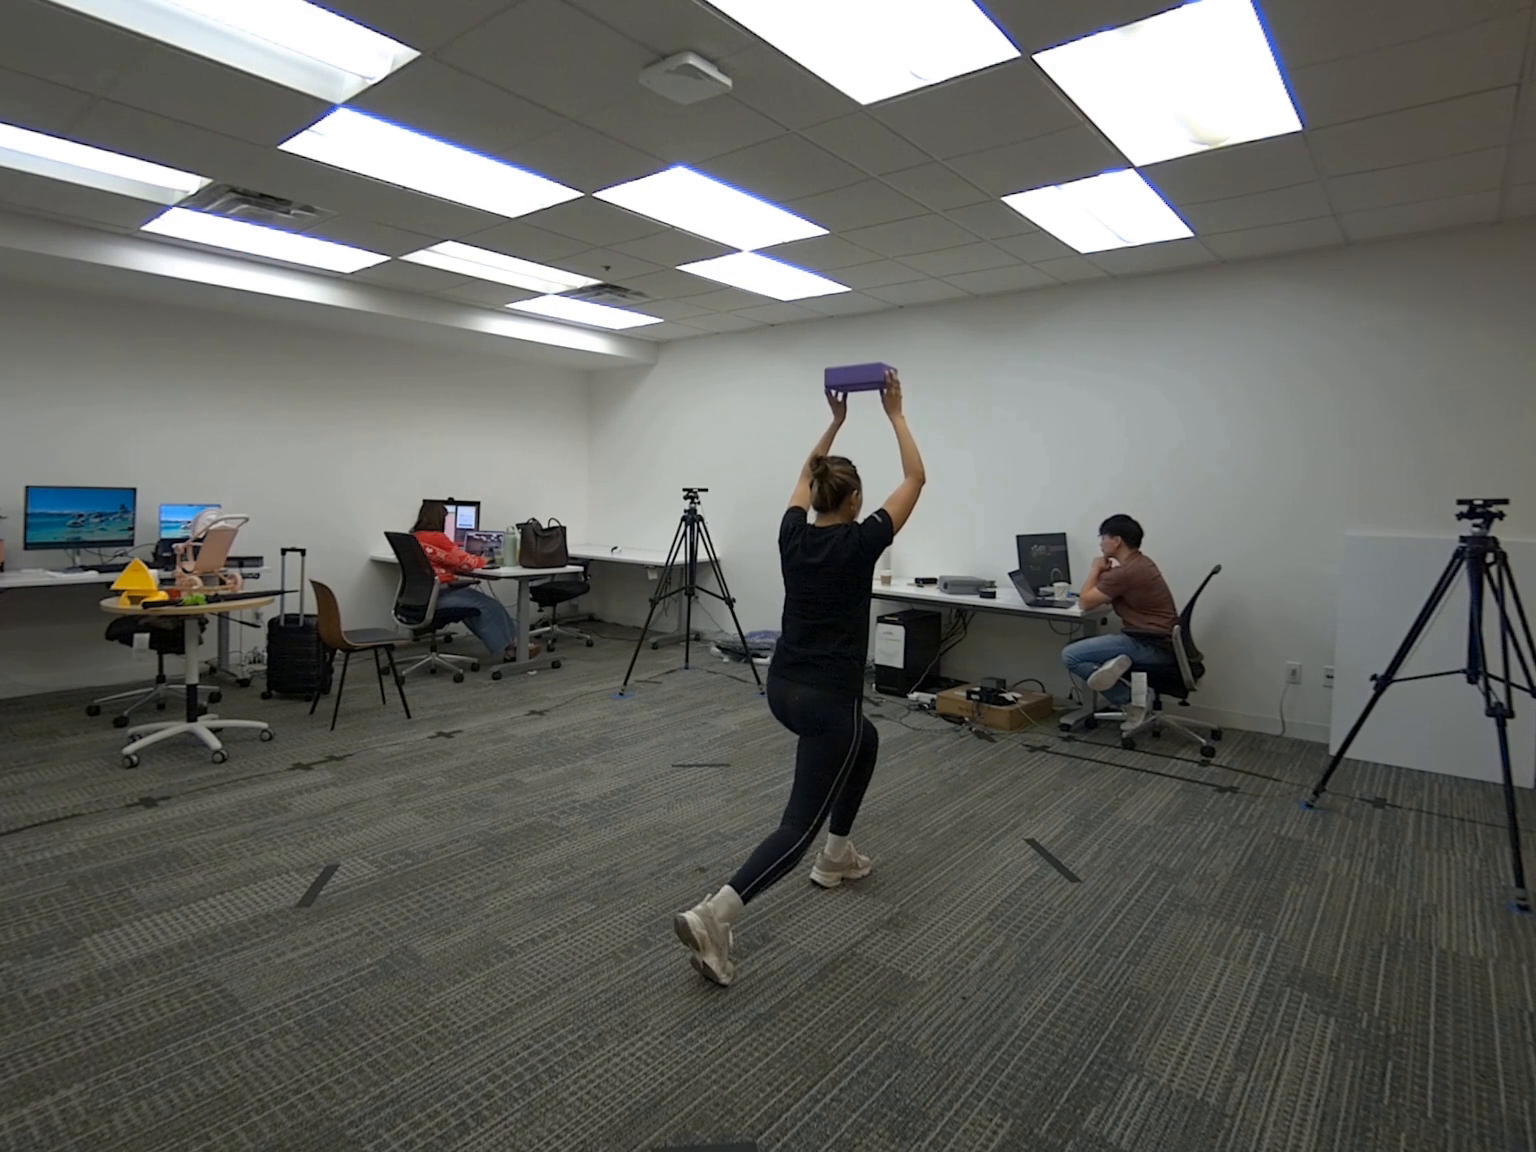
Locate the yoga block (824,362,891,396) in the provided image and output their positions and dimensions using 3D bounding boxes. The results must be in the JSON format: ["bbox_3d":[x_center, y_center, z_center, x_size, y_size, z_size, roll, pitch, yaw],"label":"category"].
[{"bbox_3d":[0.336,-0.729,3.087,0.236,0.076,0.145,2,3,31],"label":"yoga block"}]
